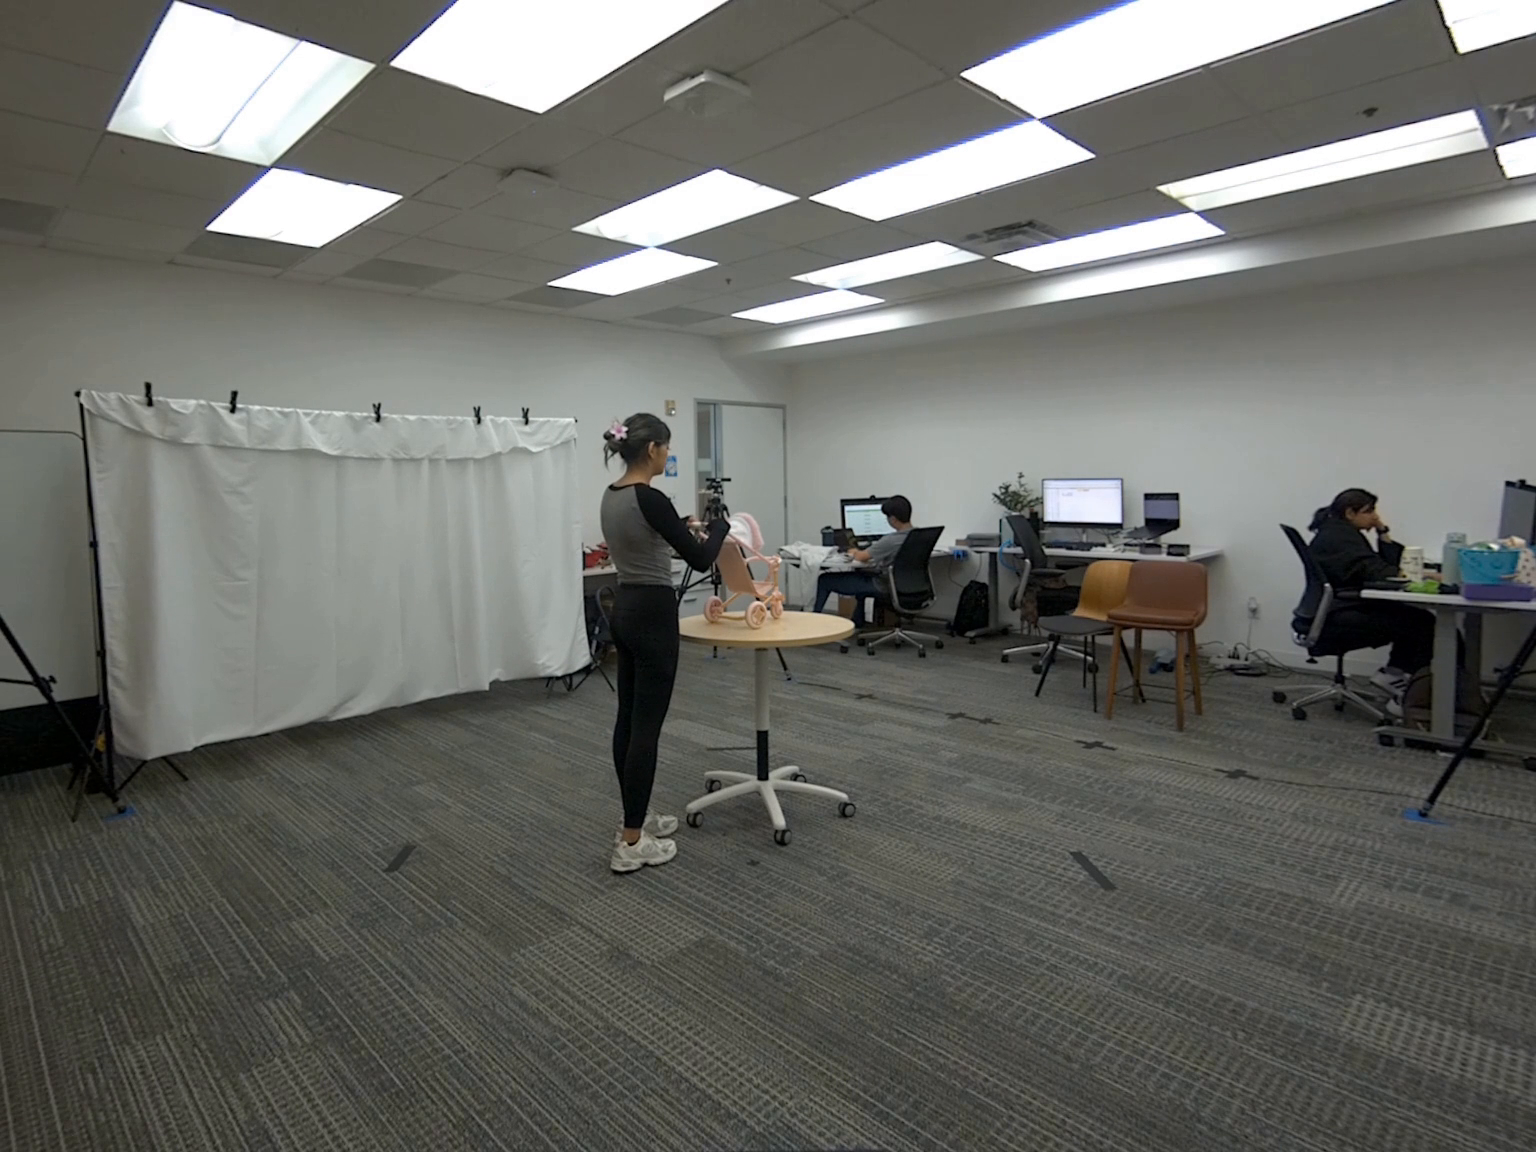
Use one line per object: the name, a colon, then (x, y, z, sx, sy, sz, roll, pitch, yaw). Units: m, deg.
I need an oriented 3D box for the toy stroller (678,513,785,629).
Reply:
toy stroller: (-0.100, -0.024, 3.547, 0.336, 0.527, 0.290, -23, 18, -38)
